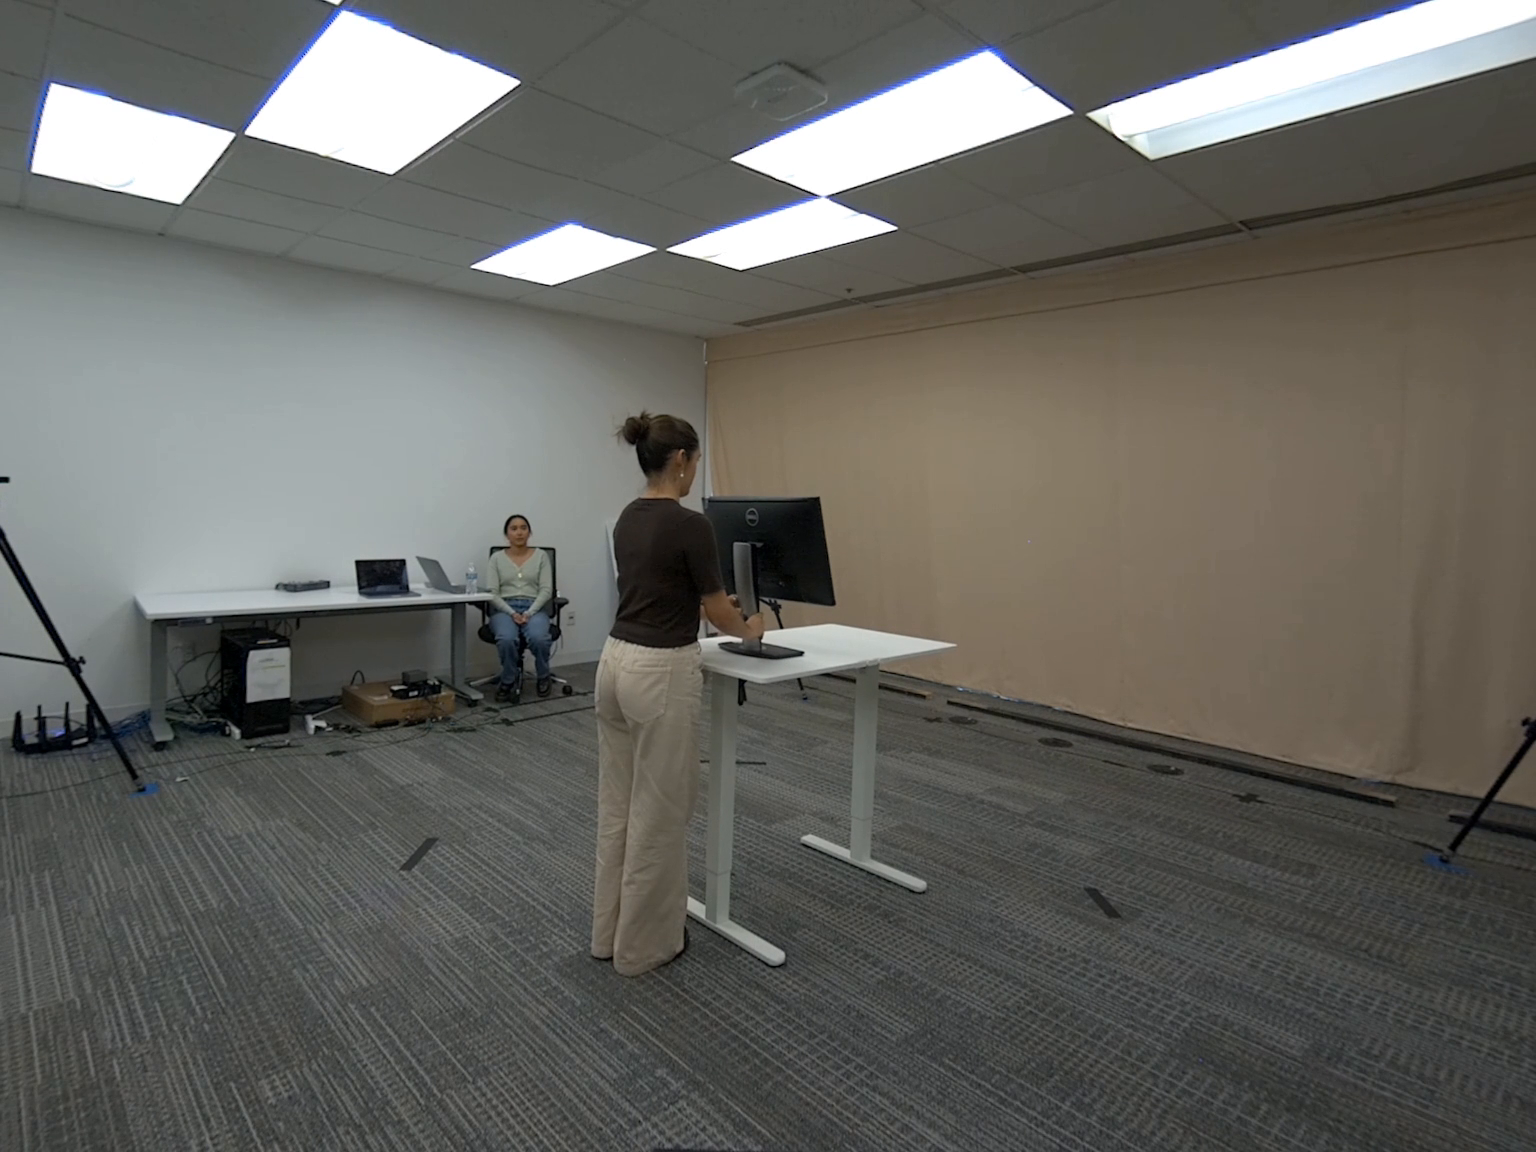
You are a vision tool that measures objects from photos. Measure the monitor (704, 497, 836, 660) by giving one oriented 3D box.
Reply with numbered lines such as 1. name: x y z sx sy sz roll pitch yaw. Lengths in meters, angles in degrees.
1. monitor: -0.028 -0.004 2.764 0.543 0.516 0.170 3 0 45
